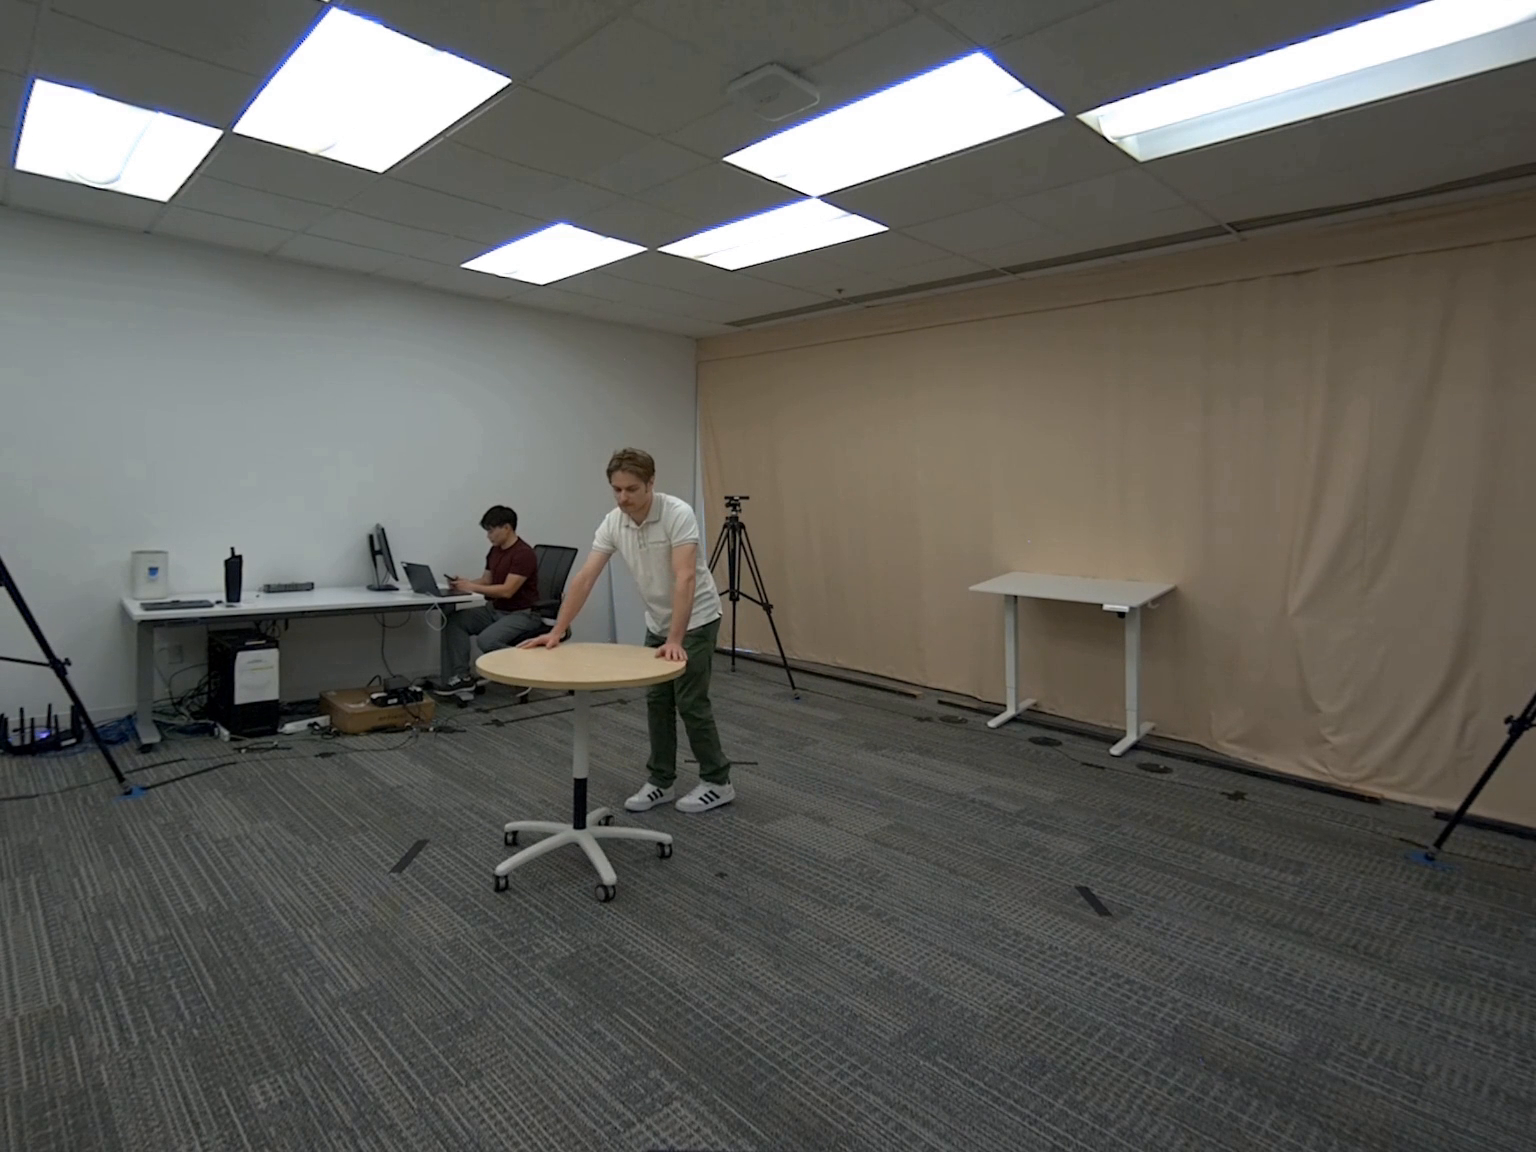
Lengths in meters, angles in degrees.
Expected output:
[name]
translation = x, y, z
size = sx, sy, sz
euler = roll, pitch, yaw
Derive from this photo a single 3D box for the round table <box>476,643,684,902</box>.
[round table]
translation = -0.712, 0.706, 3.144
size = 0.763, 0.792, 0.766
euler = 2, 4, -1
